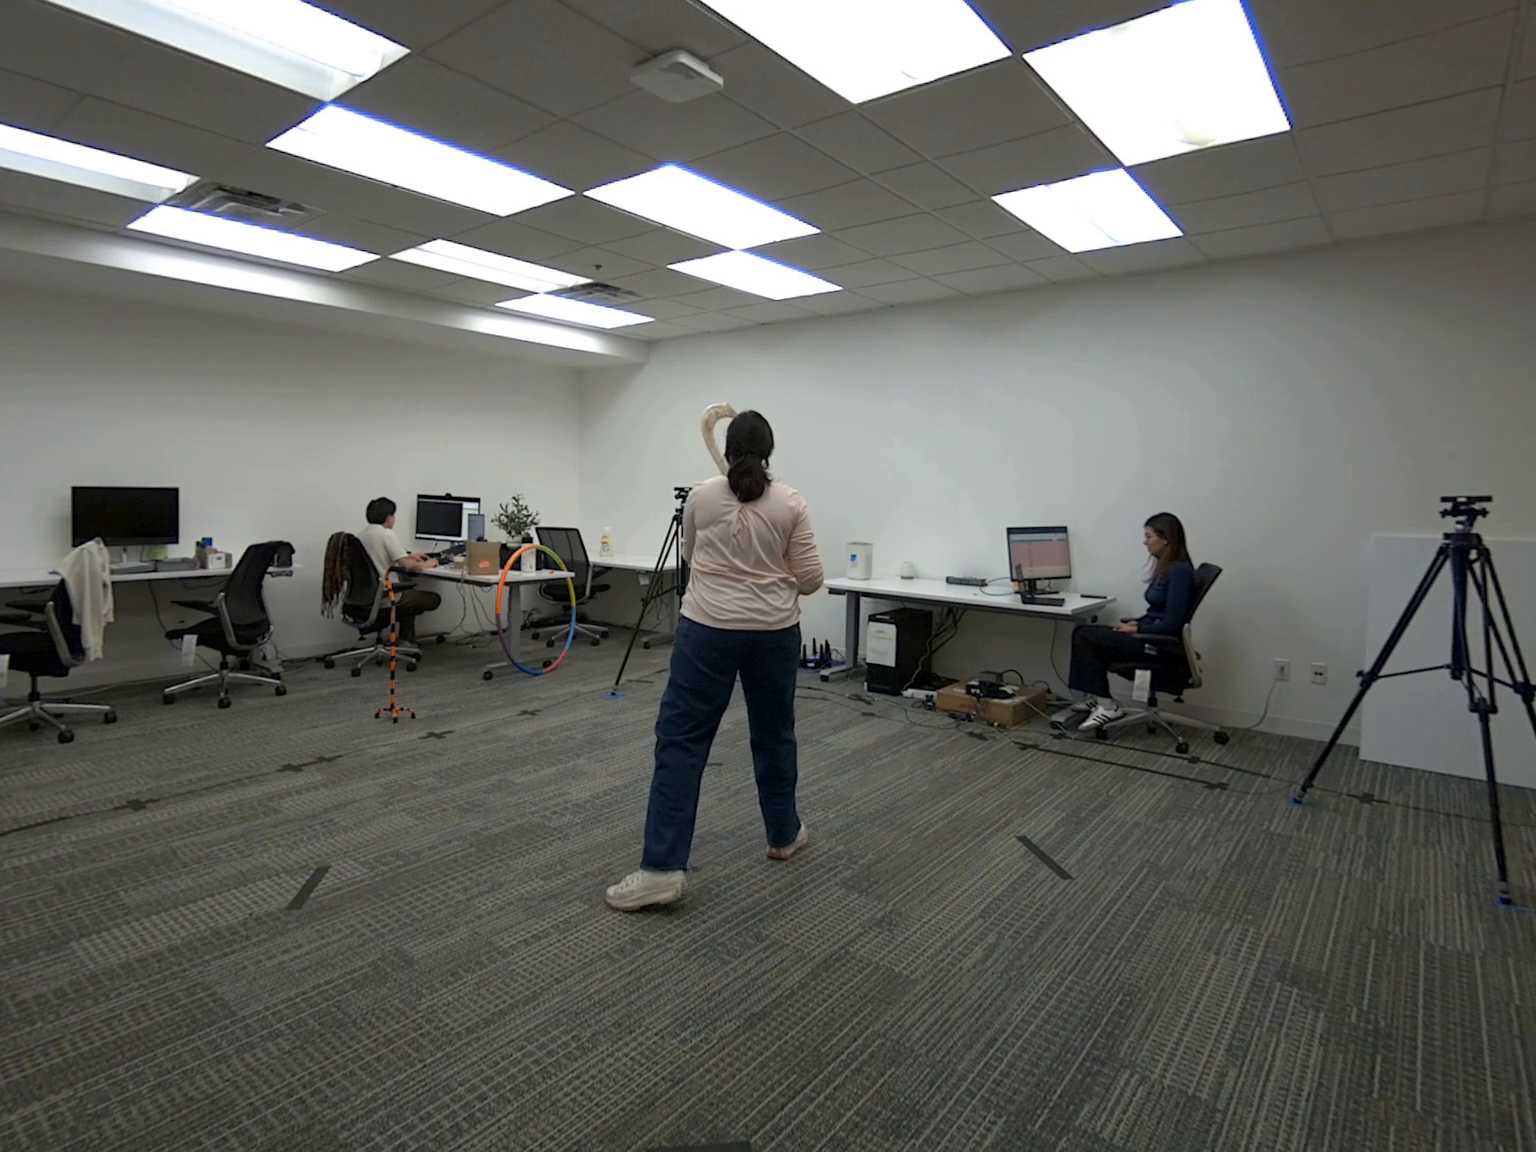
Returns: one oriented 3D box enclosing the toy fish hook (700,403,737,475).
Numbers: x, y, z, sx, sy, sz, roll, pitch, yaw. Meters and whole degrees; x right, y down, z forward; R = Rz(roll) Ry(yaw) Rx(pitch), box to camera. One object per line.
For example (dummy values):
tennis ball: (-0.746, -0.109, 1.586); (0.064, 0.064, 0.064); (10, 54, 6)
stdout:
toy fish hook: (-0.145, -0.476, 3.551); (0.220, 0.506, 0.049); (-14, 1, -30)
